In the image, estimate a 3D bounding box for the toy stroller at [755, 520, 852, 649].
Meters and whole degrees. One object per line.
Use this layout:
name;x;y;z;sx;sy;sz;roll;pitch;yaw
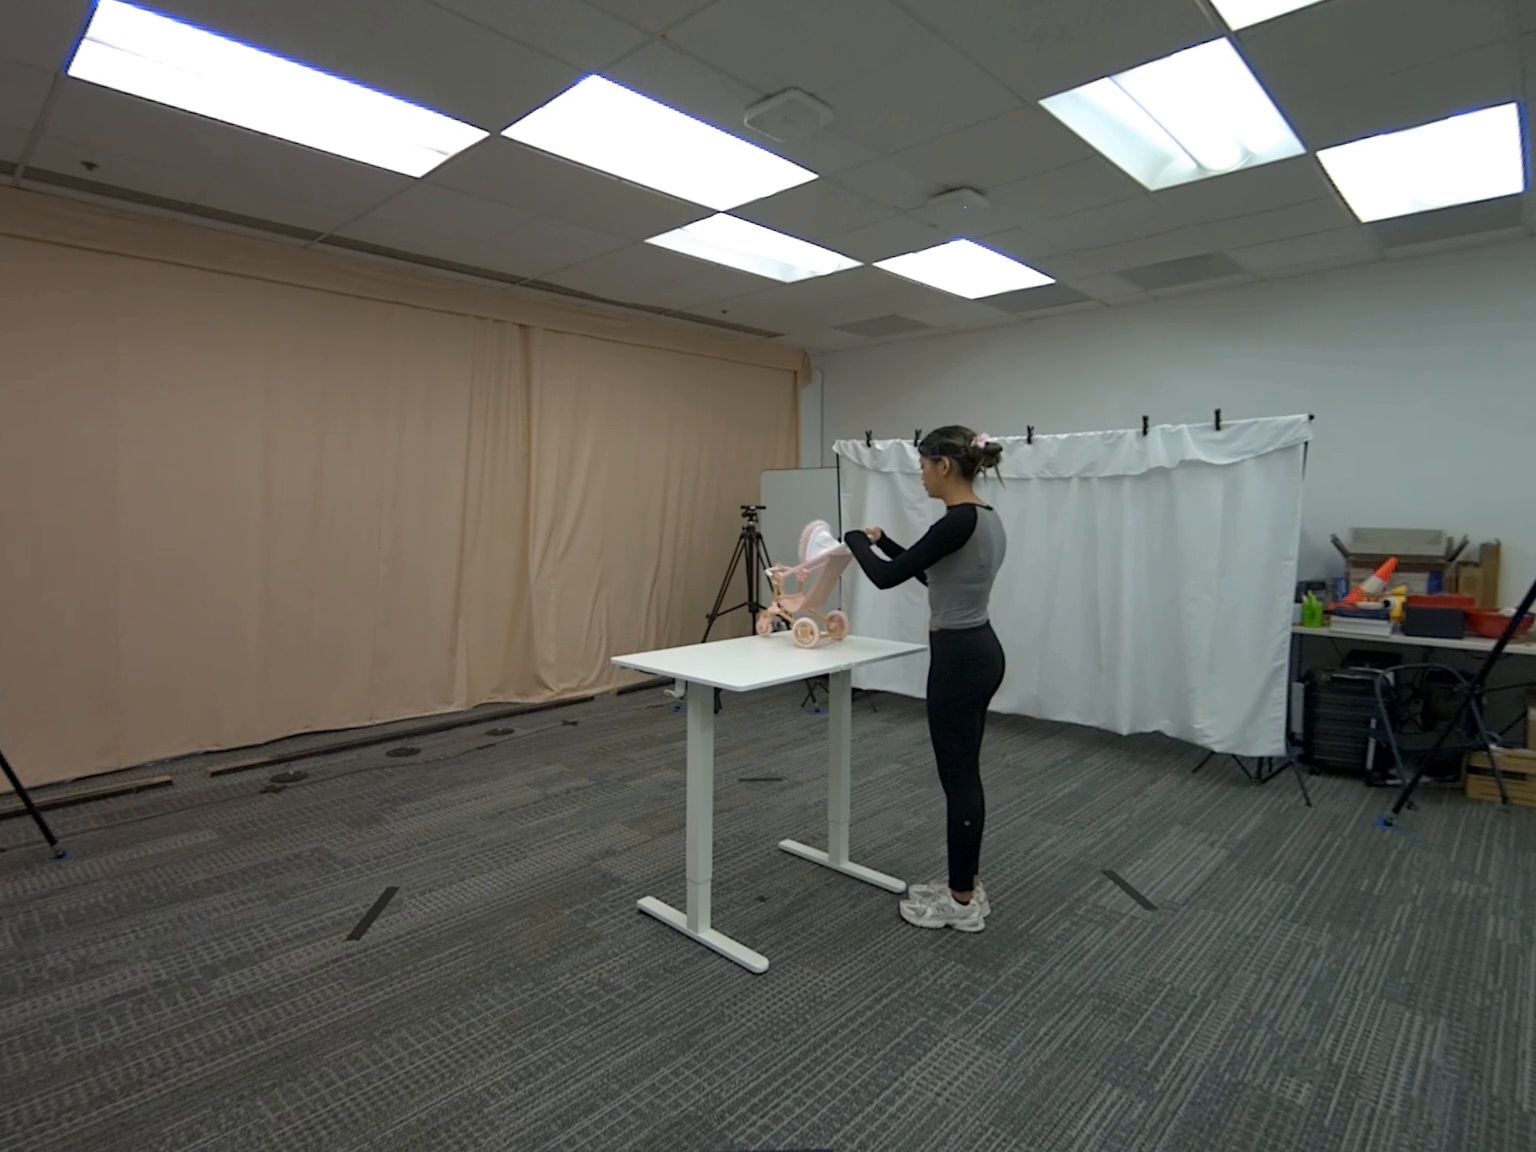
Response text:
toy stroller;0.166;0.029;3.127;0.353;0.532;0.273;26;17;34
